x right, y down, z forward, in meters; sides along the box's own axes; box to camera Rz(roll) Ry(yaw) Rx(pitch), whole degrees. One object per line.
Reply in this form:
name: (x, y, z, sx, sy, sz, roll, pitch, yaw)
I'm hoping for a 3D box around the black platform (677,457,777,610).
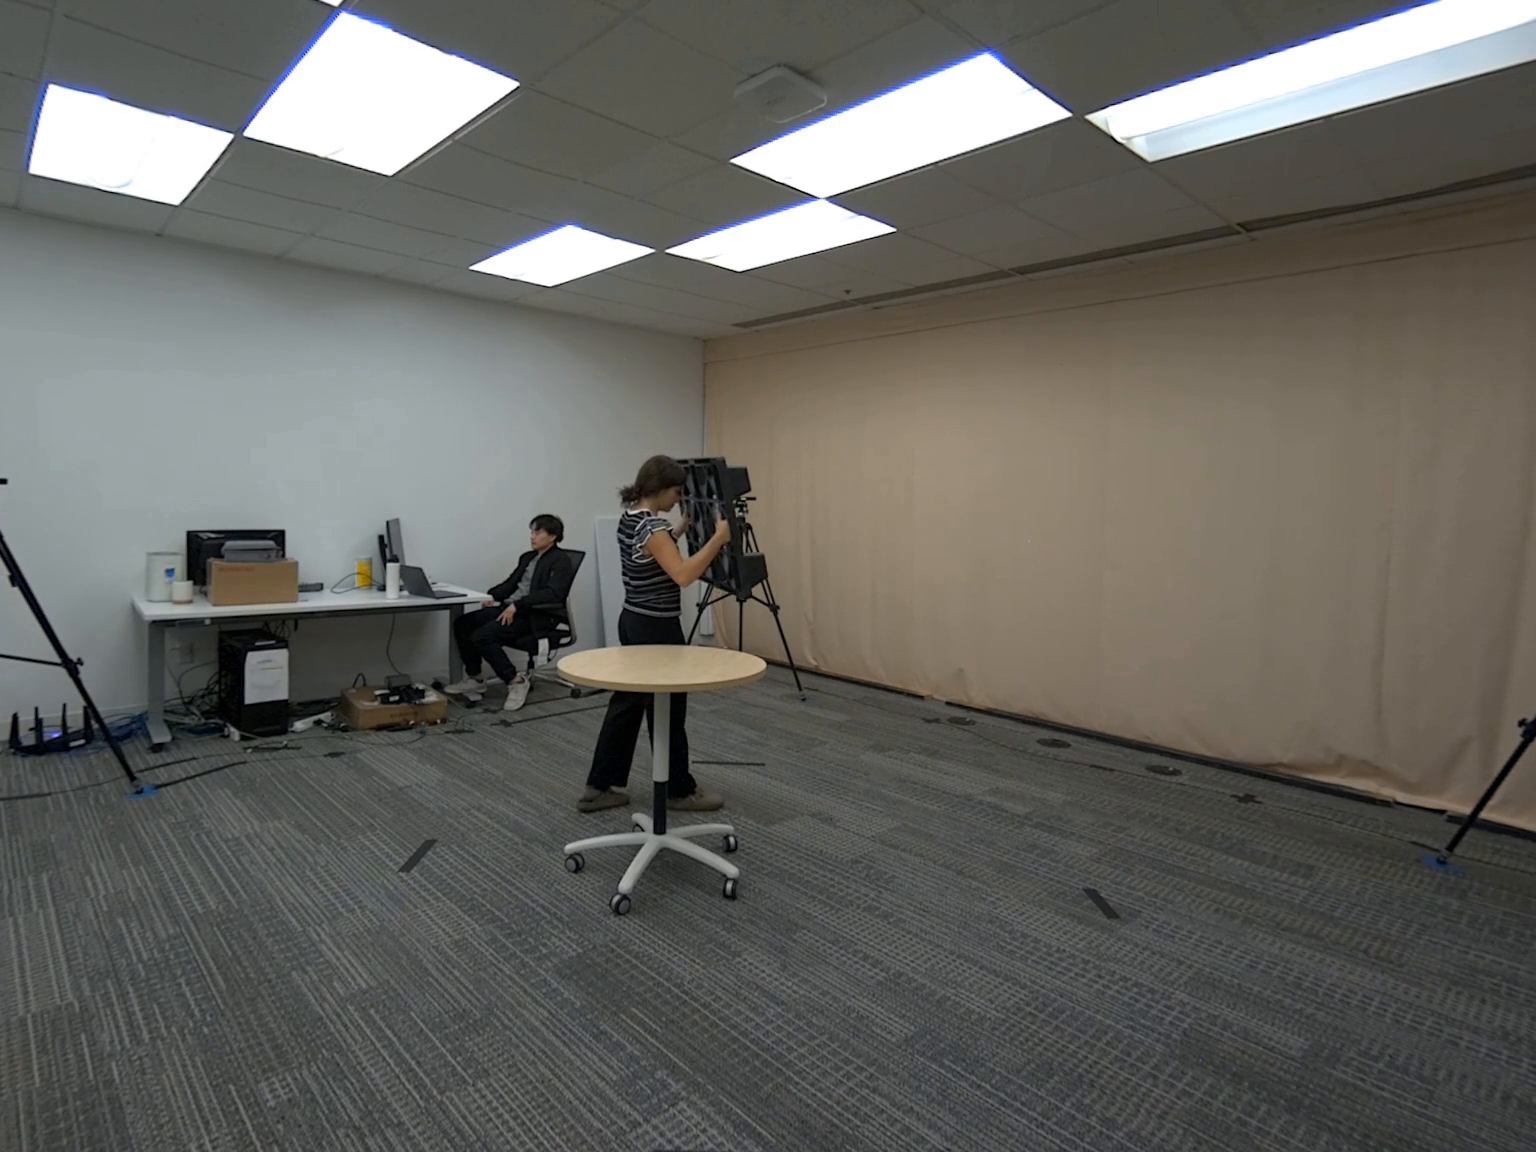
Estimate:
black platform: (-0.236, -0.247, 3.807, 0.142, 0.601, 0.819, -11, 9, -17)
